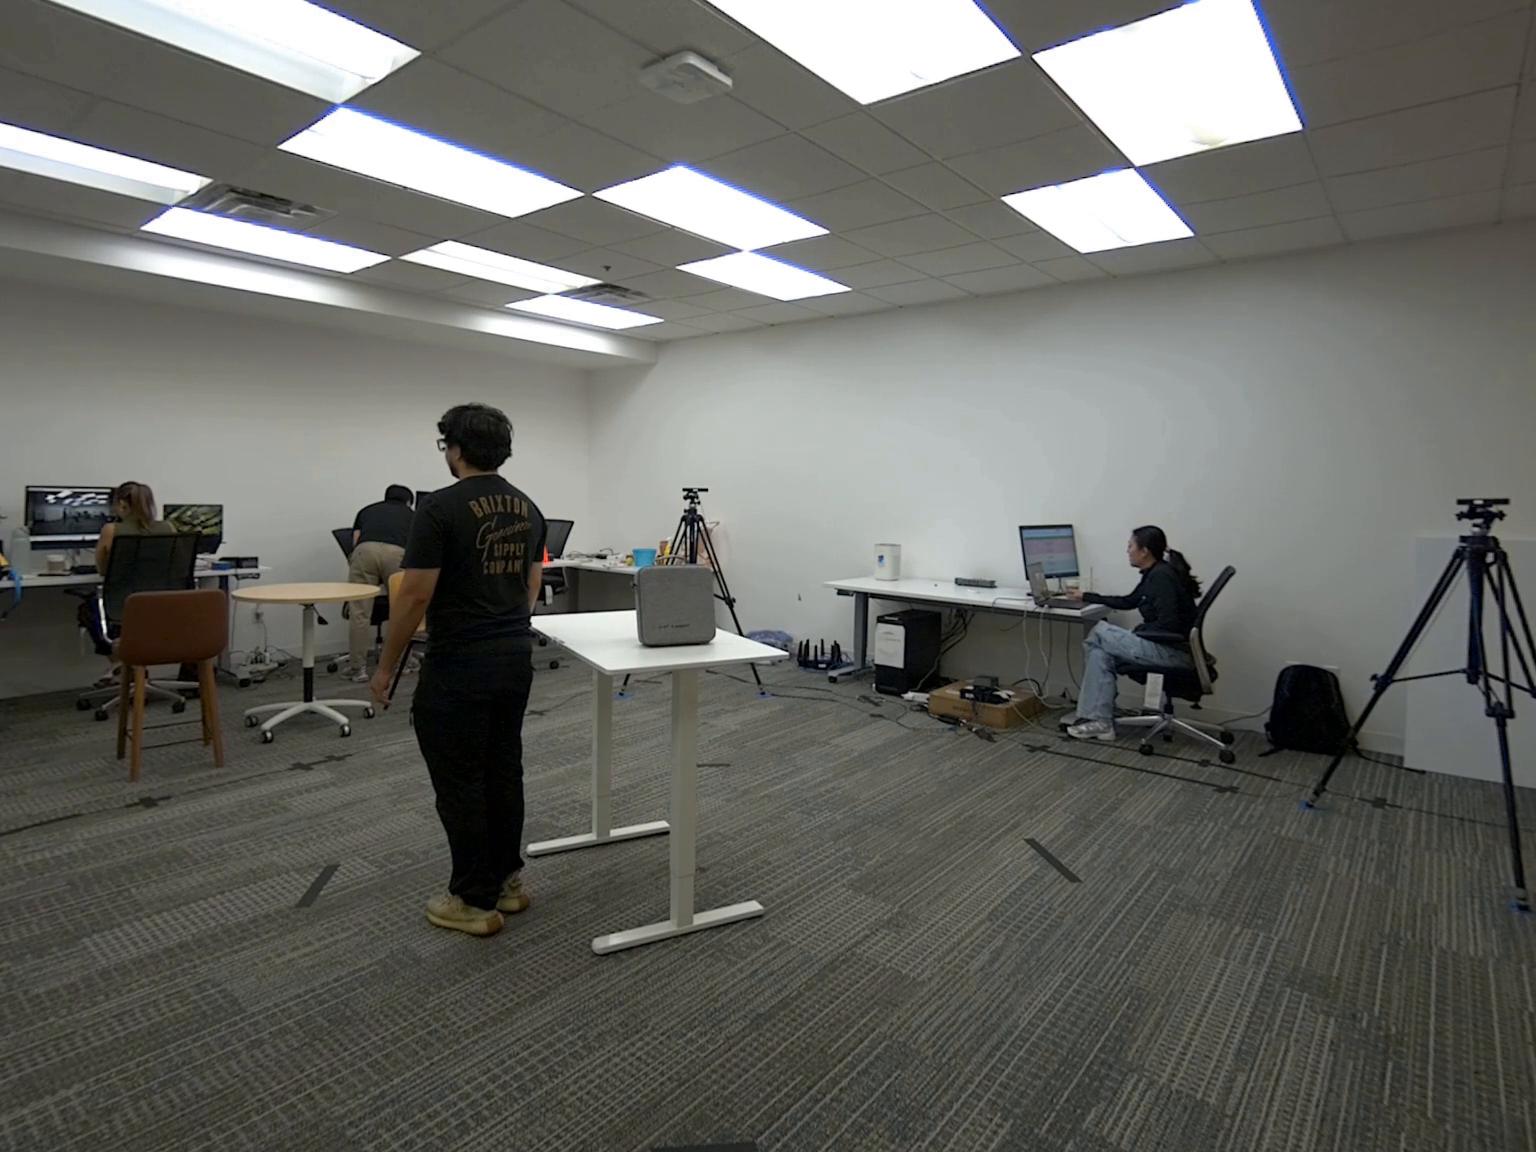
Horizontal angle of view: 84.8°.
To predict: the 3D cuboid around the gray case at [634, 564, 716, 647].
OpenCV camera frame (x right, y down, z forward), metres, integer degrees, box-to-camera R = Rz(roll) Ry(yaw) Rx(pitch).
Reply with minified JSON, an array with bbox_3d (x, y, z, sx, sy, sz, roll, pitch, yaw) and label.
[{"bbox_3d":[-0.315,0.089,2.773,0.252,0.261,0.106,-2,-3,-18],"label":"gray case"}]
